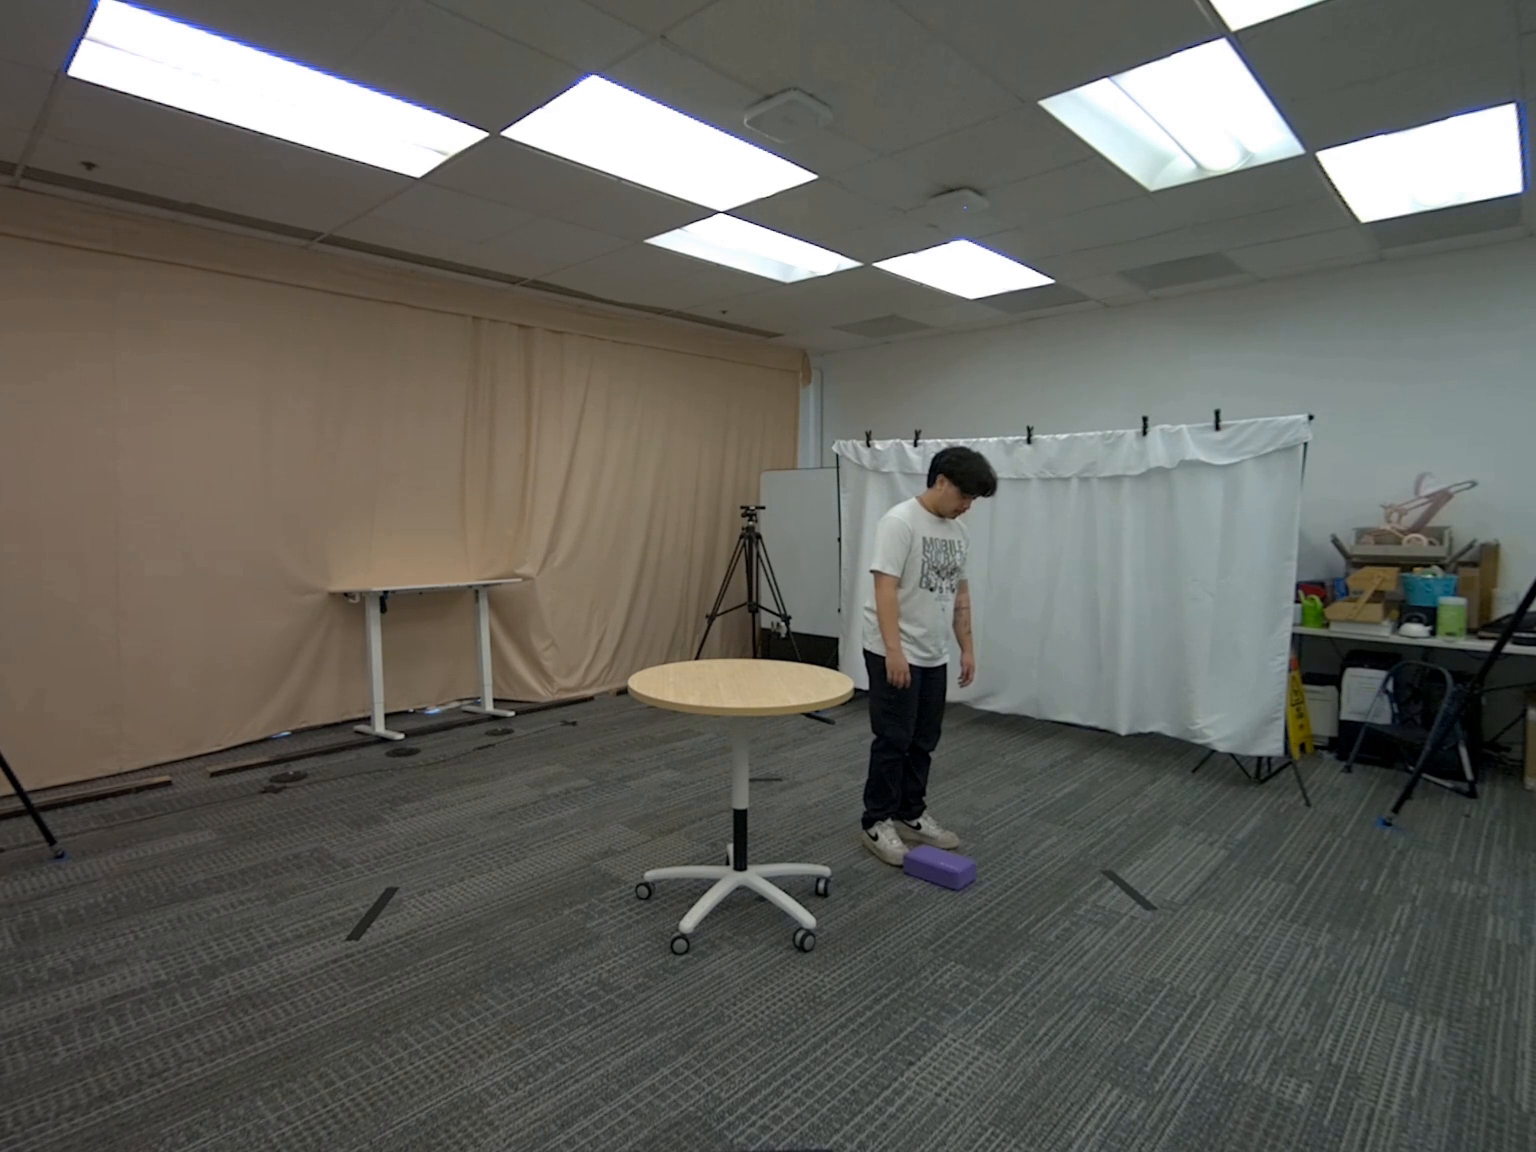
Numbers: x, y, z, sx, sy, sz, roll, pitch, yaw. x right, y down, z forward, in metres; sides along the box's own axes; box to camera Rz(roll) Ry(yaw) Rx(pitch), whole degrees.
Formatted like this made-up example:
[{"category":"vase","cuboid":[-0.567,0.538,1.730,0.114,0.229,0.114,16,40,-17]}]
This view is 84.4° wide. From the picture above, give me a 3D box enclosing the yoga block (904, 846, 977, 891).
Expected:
[{"category":"yoga block","cuboid":[0.637,1.083,3.159,0.237,0.076,0.144,5,7,42]}]
